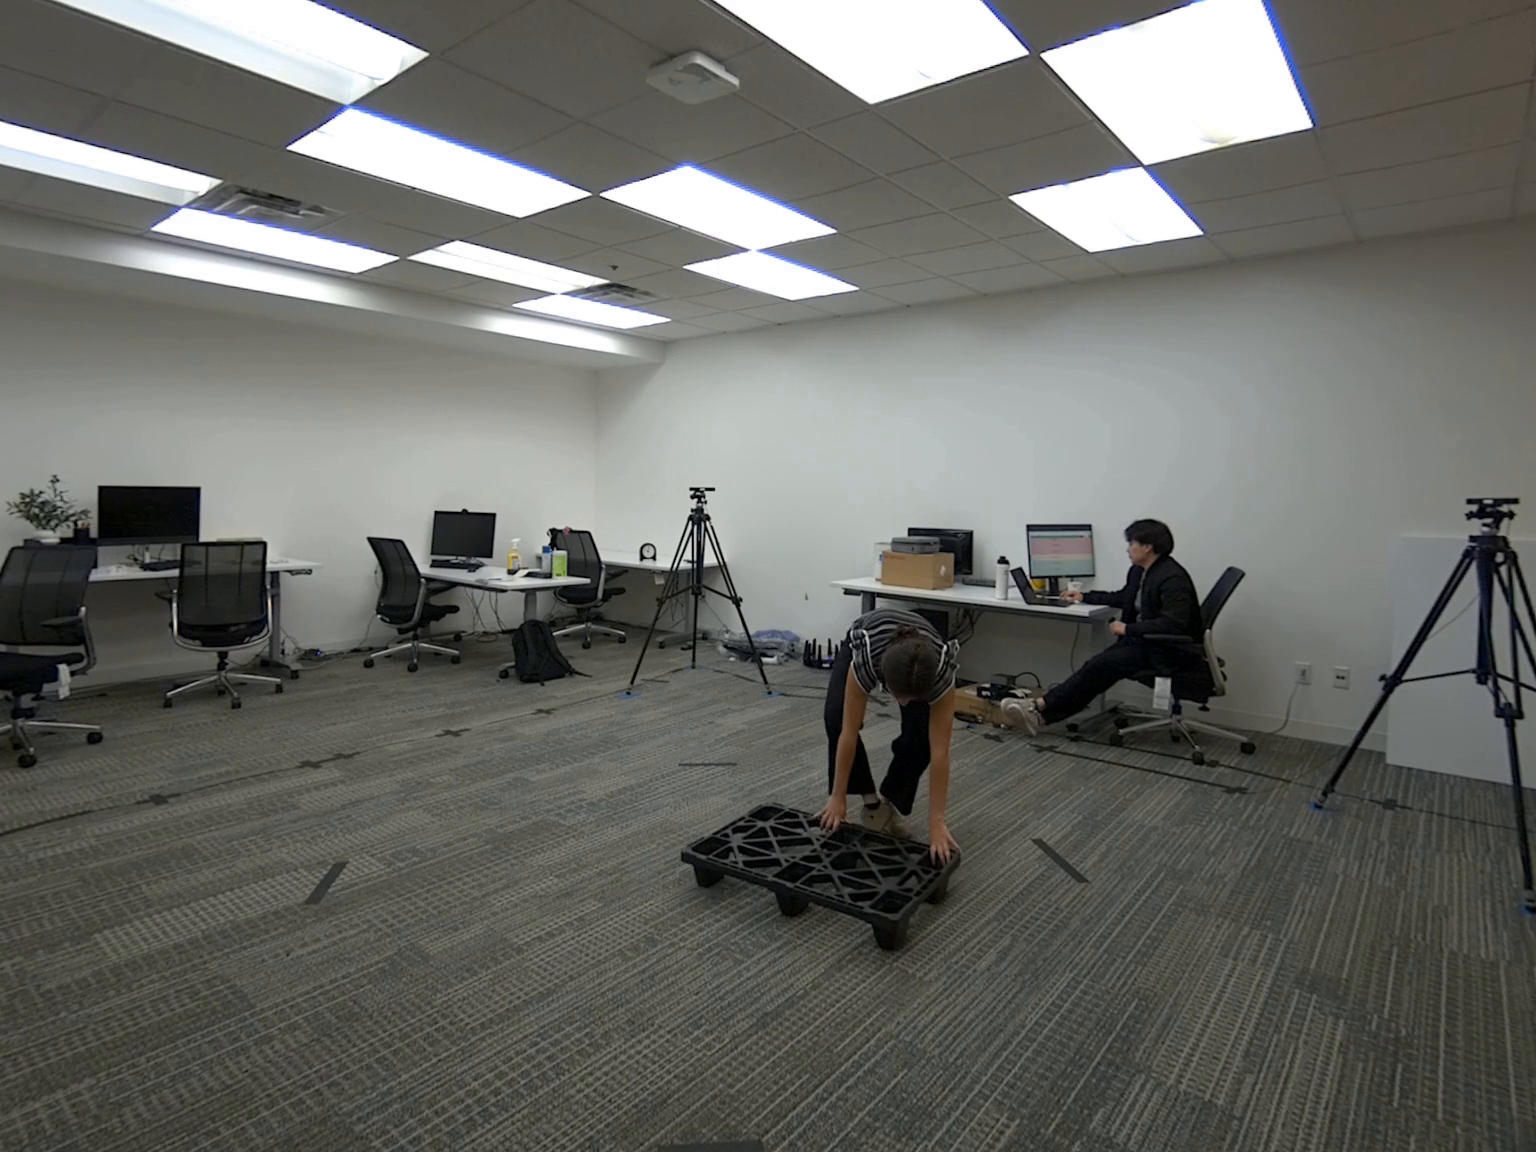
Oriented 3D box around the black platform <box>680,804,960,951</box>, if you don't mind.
[{"bbox_3d":[0.176,1.022,2.954,0.830,0.143,0.589,4,7,32],"label":"black platform"}]
